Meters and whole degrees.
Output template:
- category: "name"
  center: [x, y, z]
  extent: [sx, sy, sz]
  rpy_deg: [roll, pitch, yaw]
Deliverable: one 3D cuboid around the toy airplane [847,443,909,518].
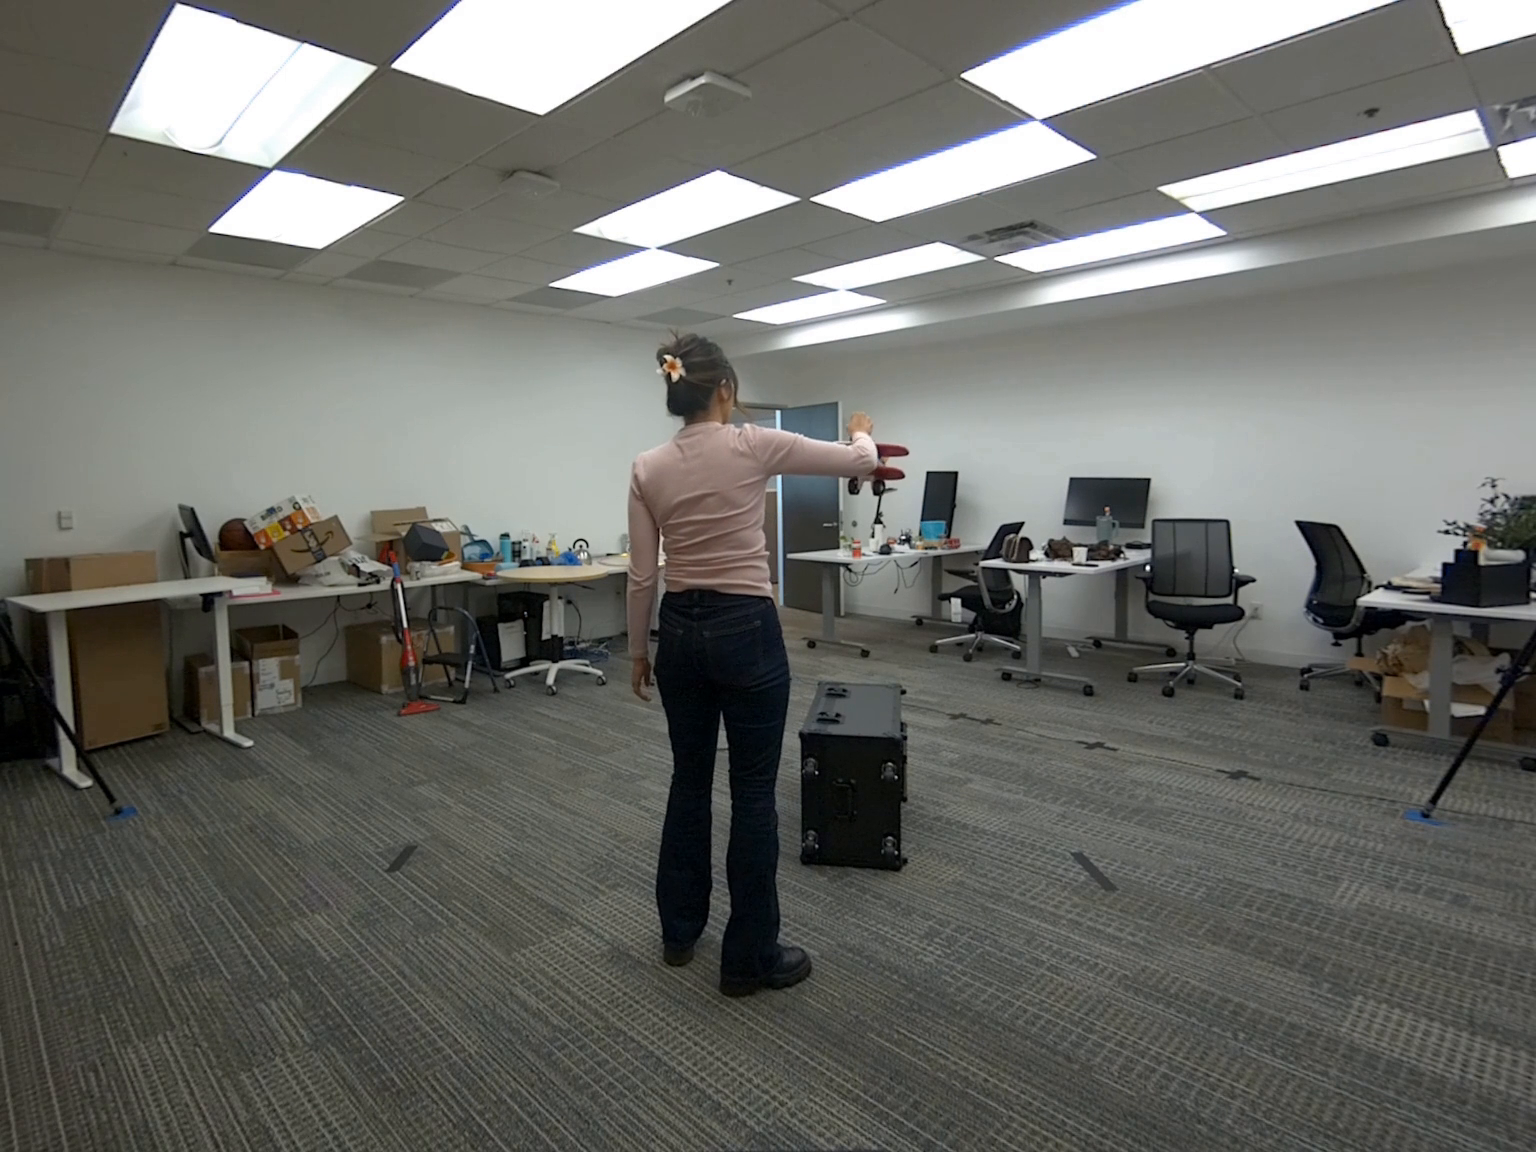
- category: "toy airplane"
  center: [0.325, -0.370, 2.710]
  extent: [0.252, 0.158, 0.255]
  rpy_deg: [18, -23, 3]
